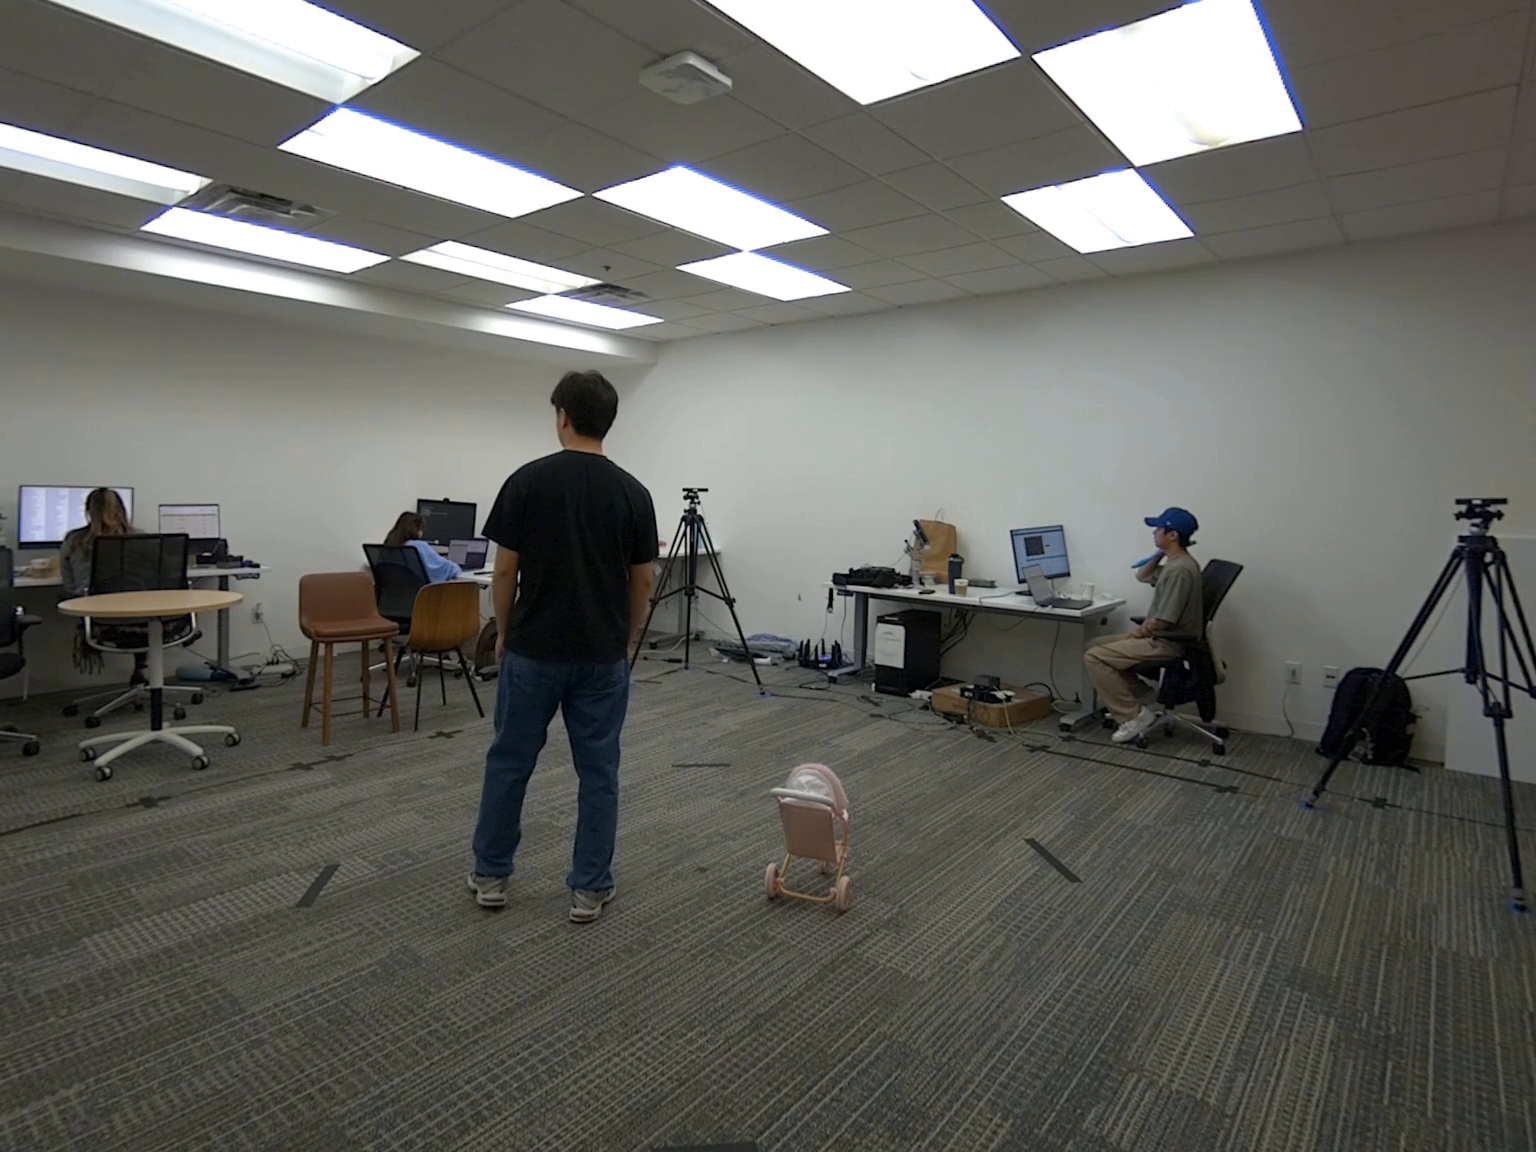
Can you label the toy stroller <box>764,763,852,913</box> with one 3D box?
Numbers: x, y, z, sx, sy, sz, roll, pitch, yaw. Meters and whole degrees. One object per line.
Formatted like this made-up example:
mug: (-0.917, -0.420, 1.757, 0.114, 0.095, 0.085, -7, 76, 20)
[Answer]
toy stroller: (0.150, 0.874, 2.916, 0.288, 0.525, 0.340, 4, 21, 22)
